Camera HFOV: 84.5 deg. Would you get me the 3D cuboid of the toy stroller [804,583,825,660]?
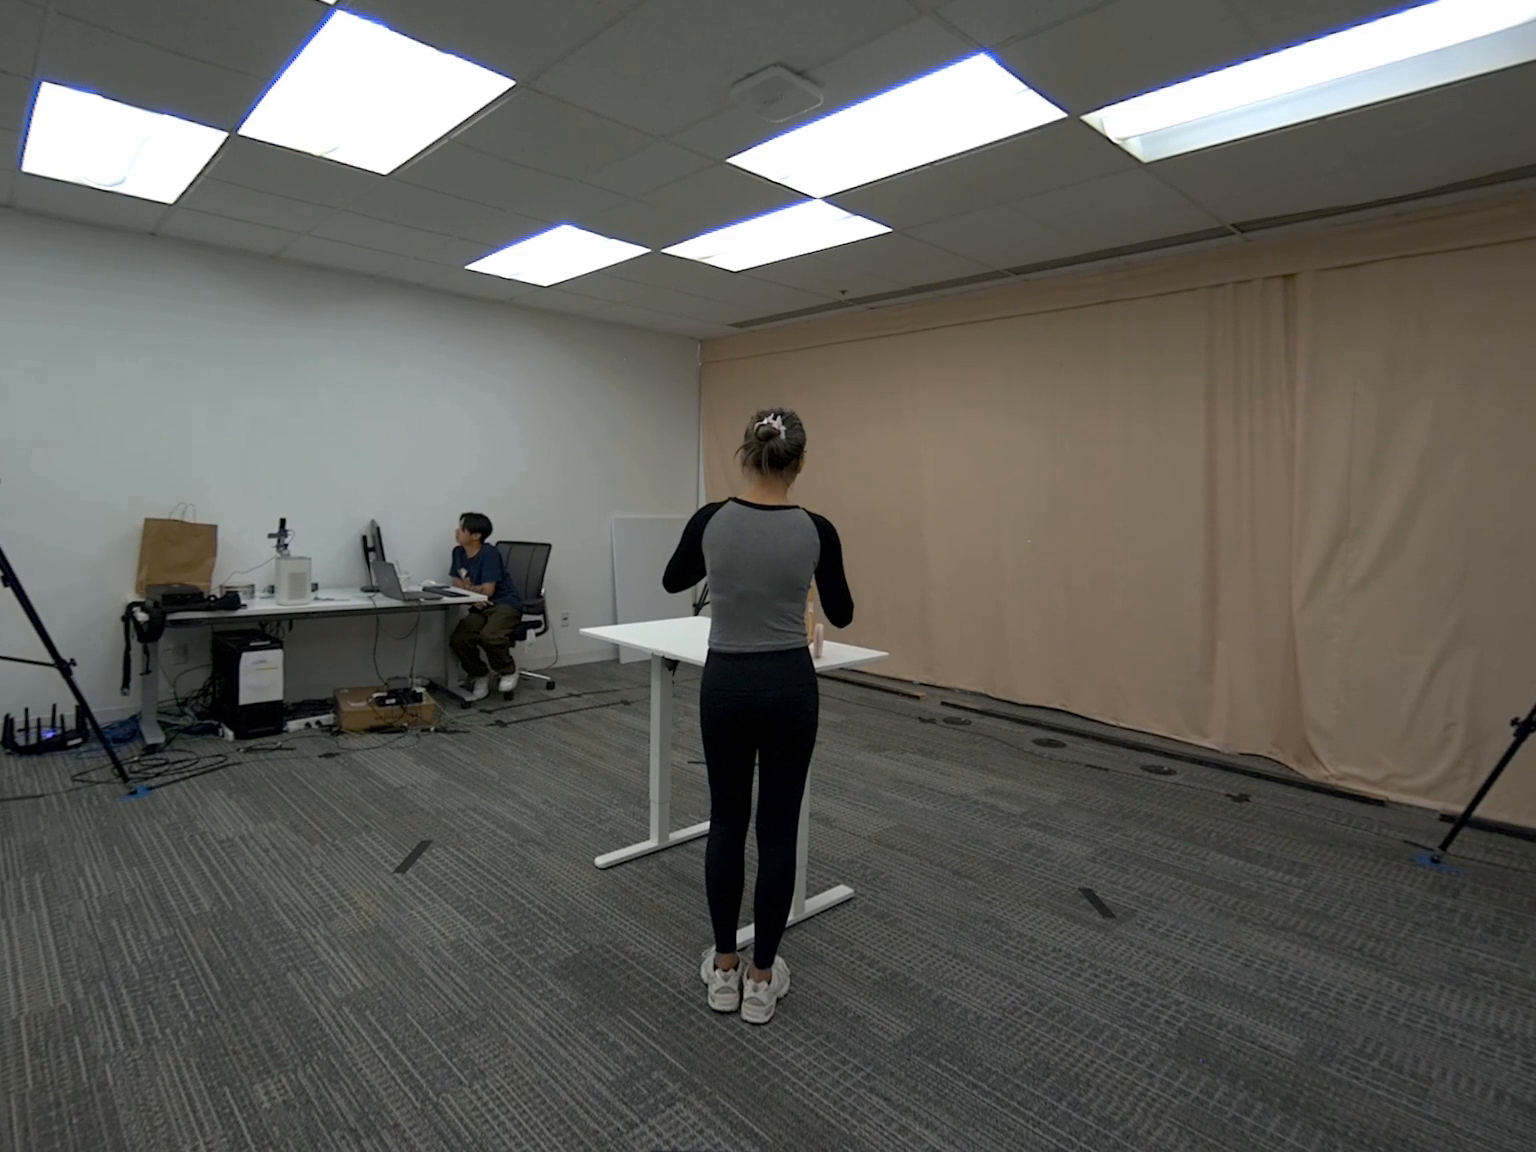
[{"bbox_3d":[0.047,0.039,2.795,0.283,0.526,0.344,3,24,8],"label":"toy stroller"}]
